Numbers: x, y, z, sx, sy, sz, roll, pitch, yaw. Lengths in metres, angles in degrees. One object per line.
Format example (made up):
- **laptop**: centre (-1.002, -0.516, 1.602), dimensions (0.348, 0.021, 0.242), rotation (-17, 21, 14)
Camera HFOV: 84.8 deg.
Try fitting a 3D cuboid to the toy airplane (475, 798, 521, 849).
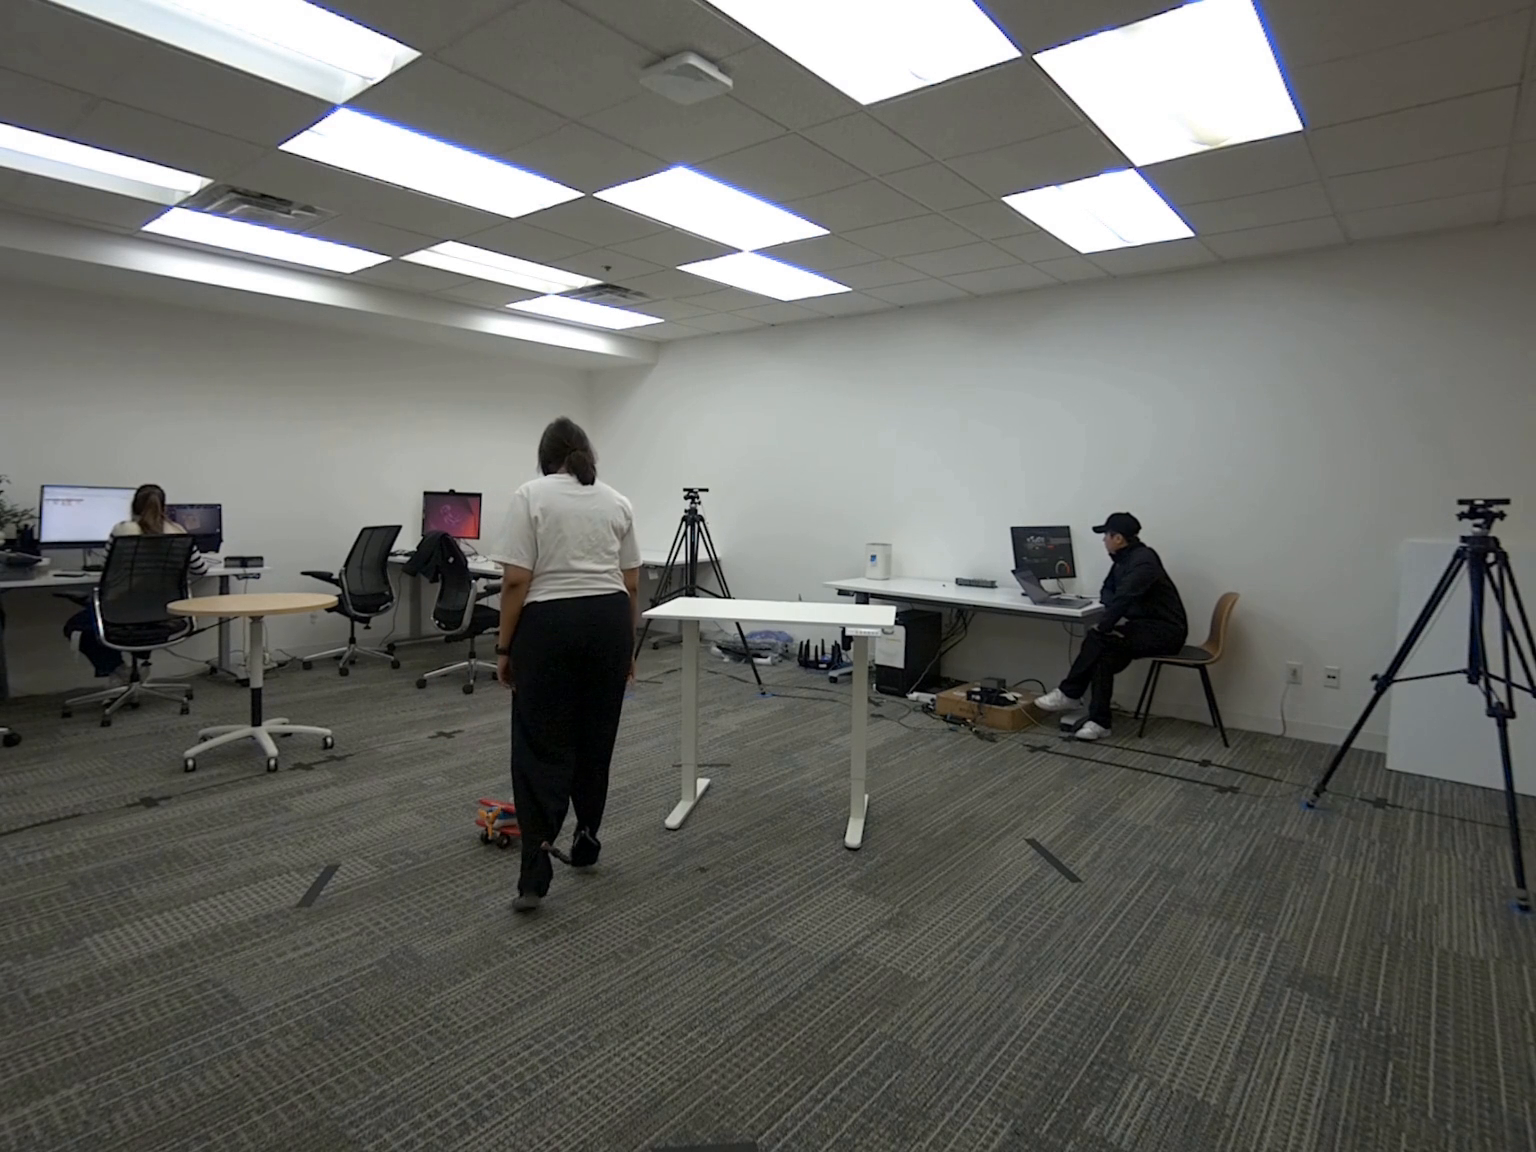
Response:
- **toy airplane**: centre (-1.047, 0.954, 3.363), dimensions (0.251, 0.156, 0.260), rotation (0, 5, 0)
